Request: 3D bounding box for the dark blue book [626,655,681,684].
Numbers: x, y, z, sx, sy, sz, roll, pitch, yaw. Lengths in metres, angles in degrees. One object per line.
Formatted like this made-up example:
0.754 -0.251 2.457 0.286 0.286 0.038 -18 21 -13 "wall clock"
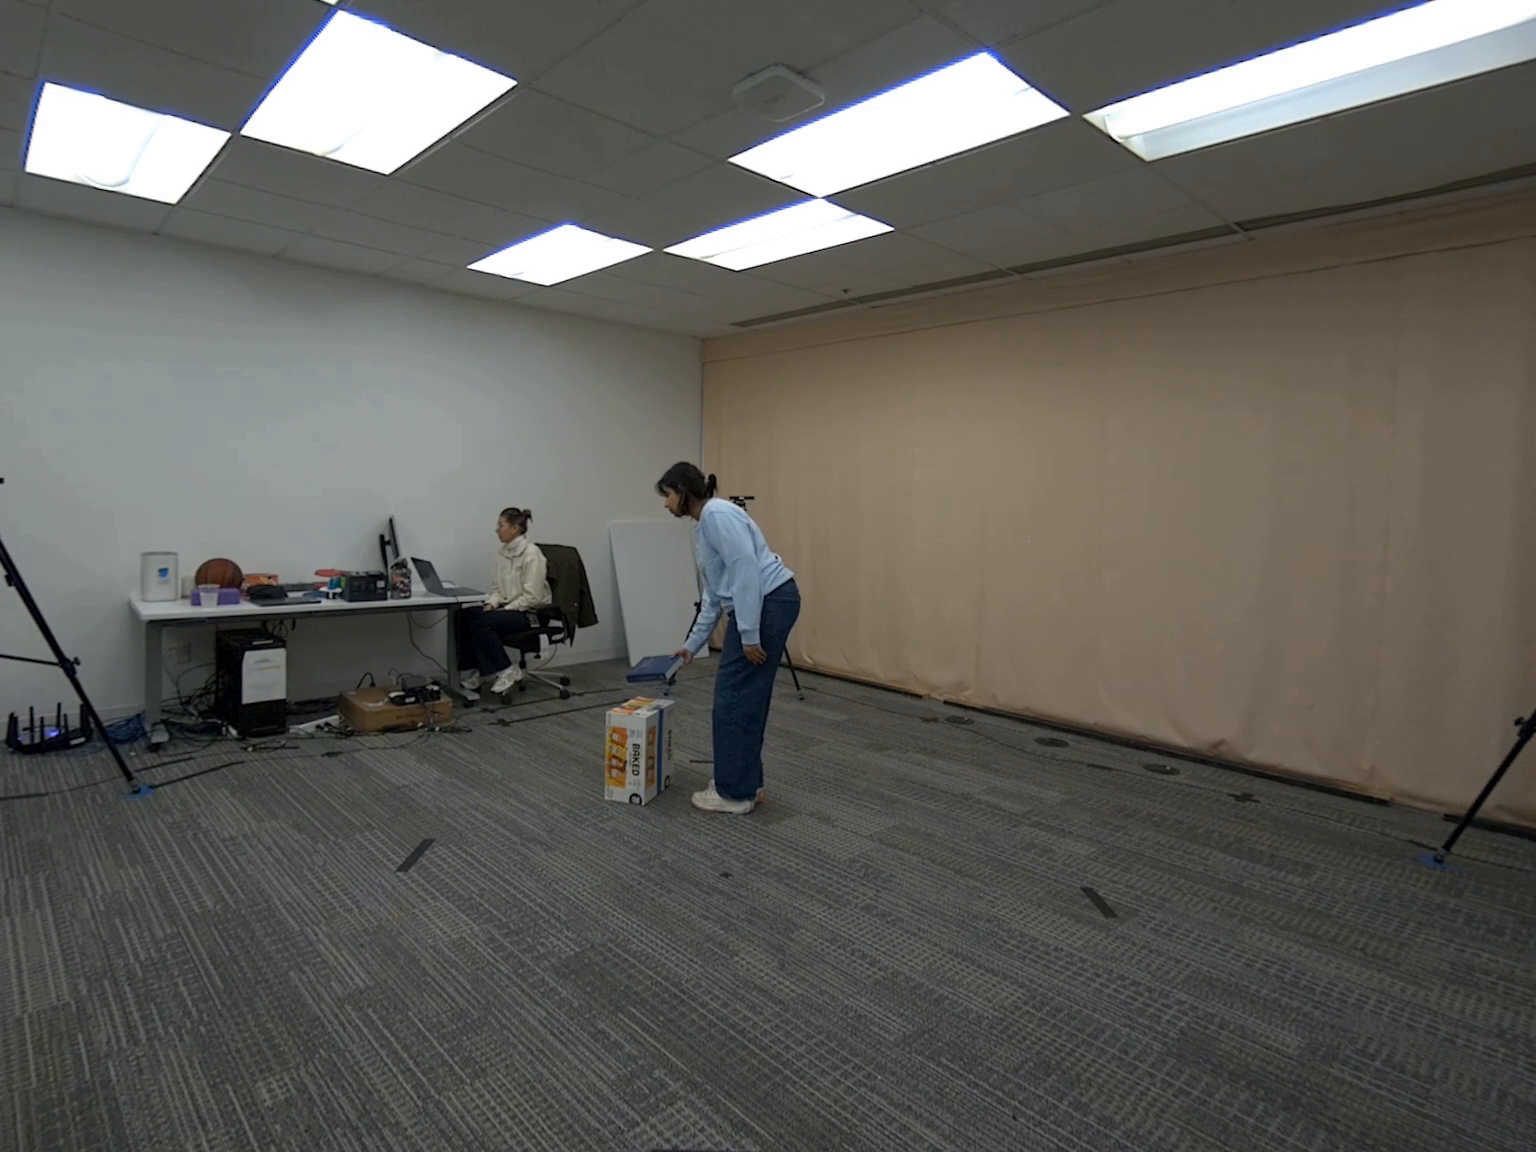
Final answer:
-0.536 0.426 3.962 0.249 0.044 0.163 -9 21 34 "dark blue book"
